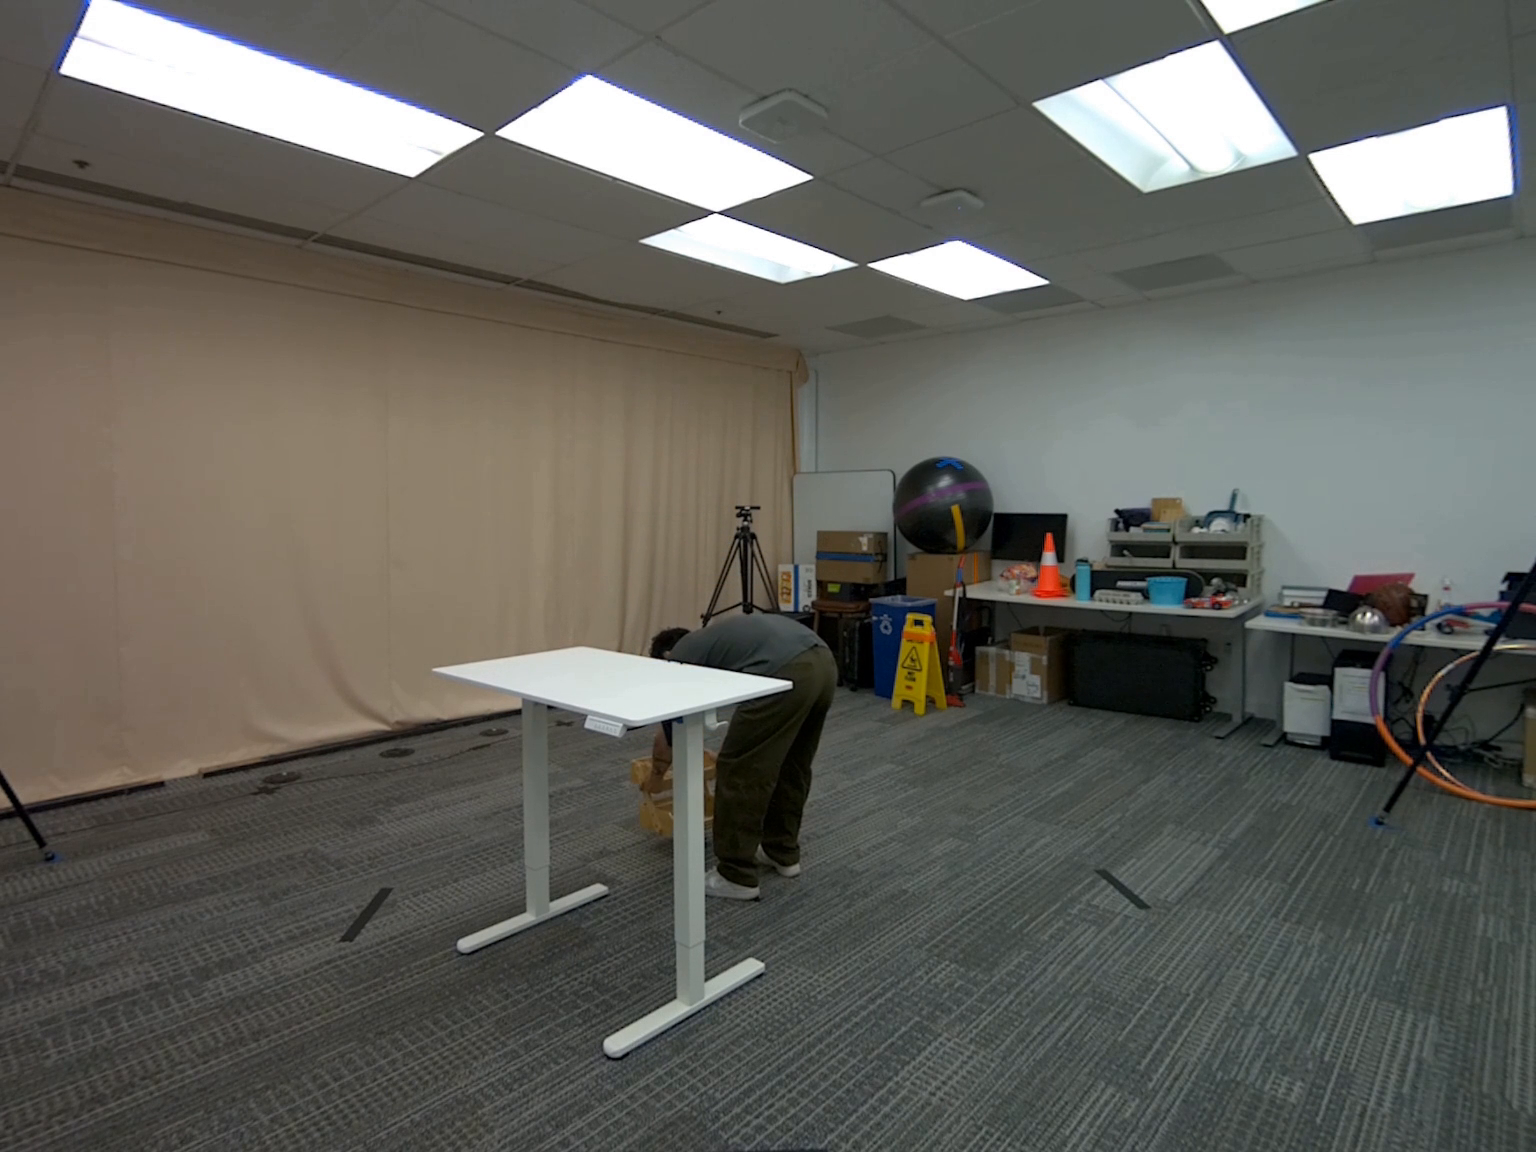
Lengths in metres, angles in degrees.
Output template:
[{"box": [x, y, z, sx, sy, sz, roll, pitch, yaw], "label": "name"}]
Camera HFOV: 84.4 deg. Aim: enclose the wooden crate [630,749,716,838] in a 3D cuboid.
[{"box": [-0.357, 0.880, 3.461, 0.311, 0.273, 0.314, -1, 0, 43], "label": "wooden crate"}]
